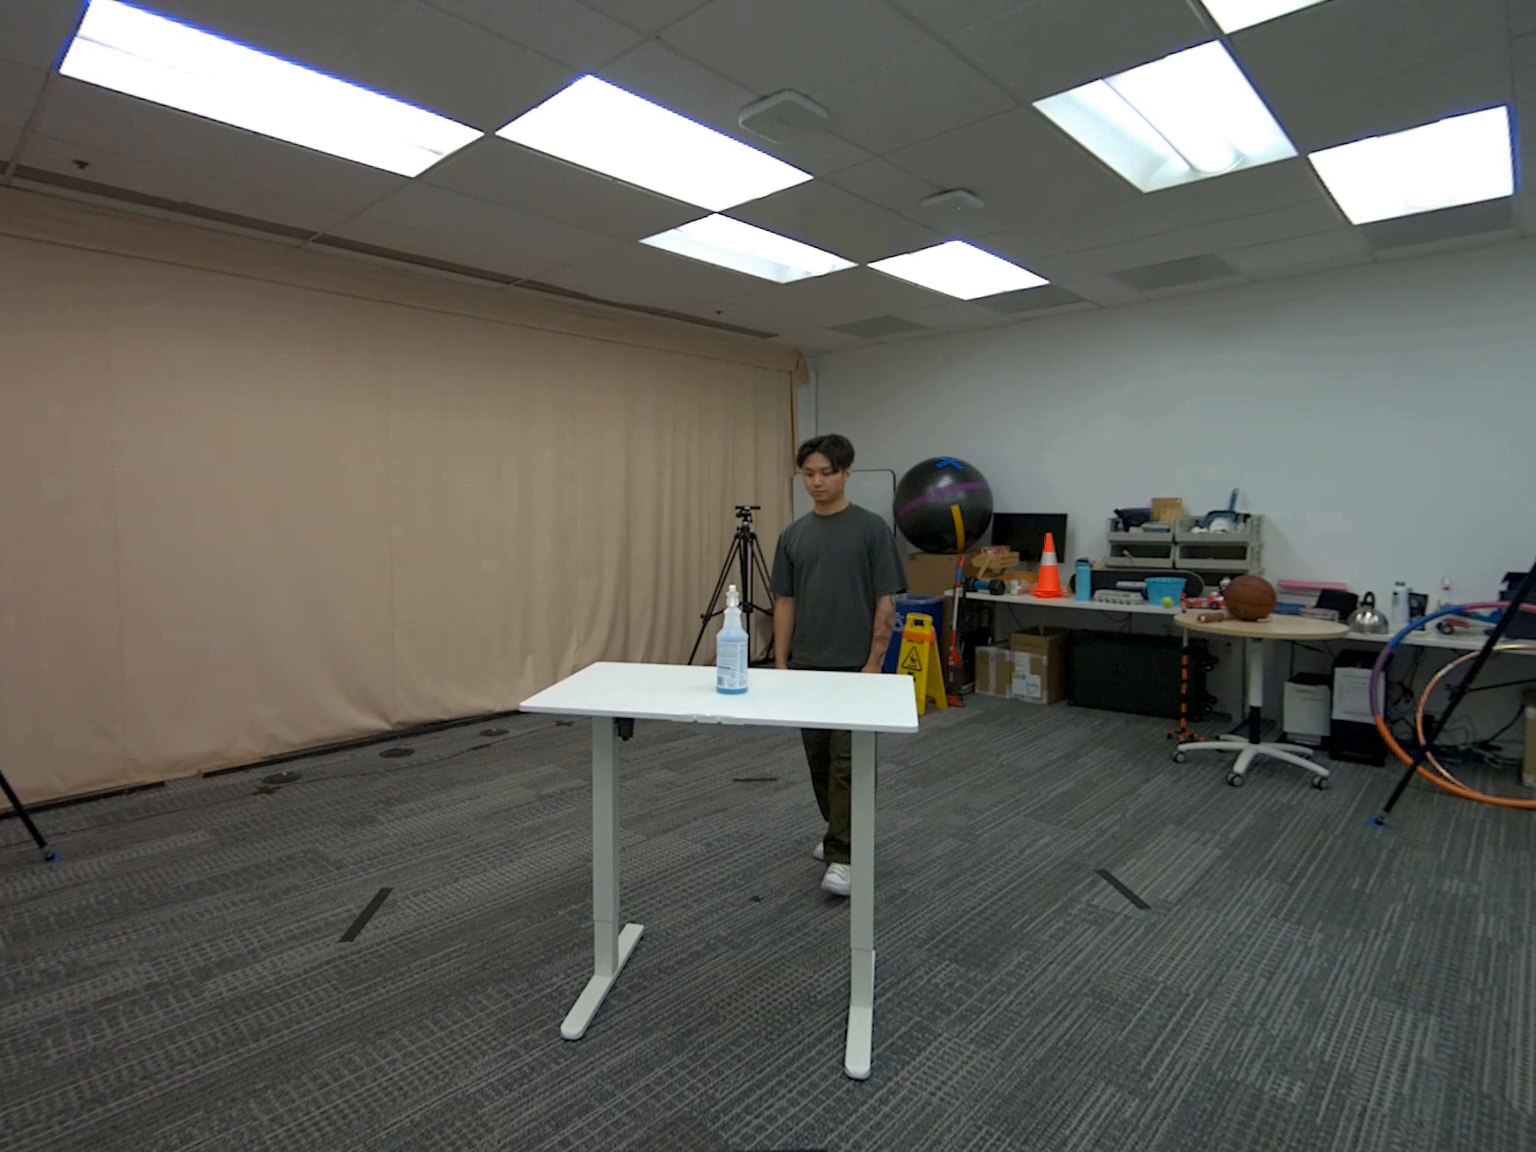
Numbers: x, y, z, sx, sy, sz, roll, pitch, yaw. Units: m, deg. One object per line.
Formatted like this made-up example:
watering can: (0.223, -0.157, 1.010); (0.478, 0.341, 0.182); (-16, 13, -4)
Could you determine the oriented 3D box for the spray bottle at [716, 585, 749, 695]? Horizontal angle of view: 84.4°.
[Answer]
spray bottle: (-0.093, 0.172, 2.314); (0.089, 0.297, 0.088); (1, 3, 24)
